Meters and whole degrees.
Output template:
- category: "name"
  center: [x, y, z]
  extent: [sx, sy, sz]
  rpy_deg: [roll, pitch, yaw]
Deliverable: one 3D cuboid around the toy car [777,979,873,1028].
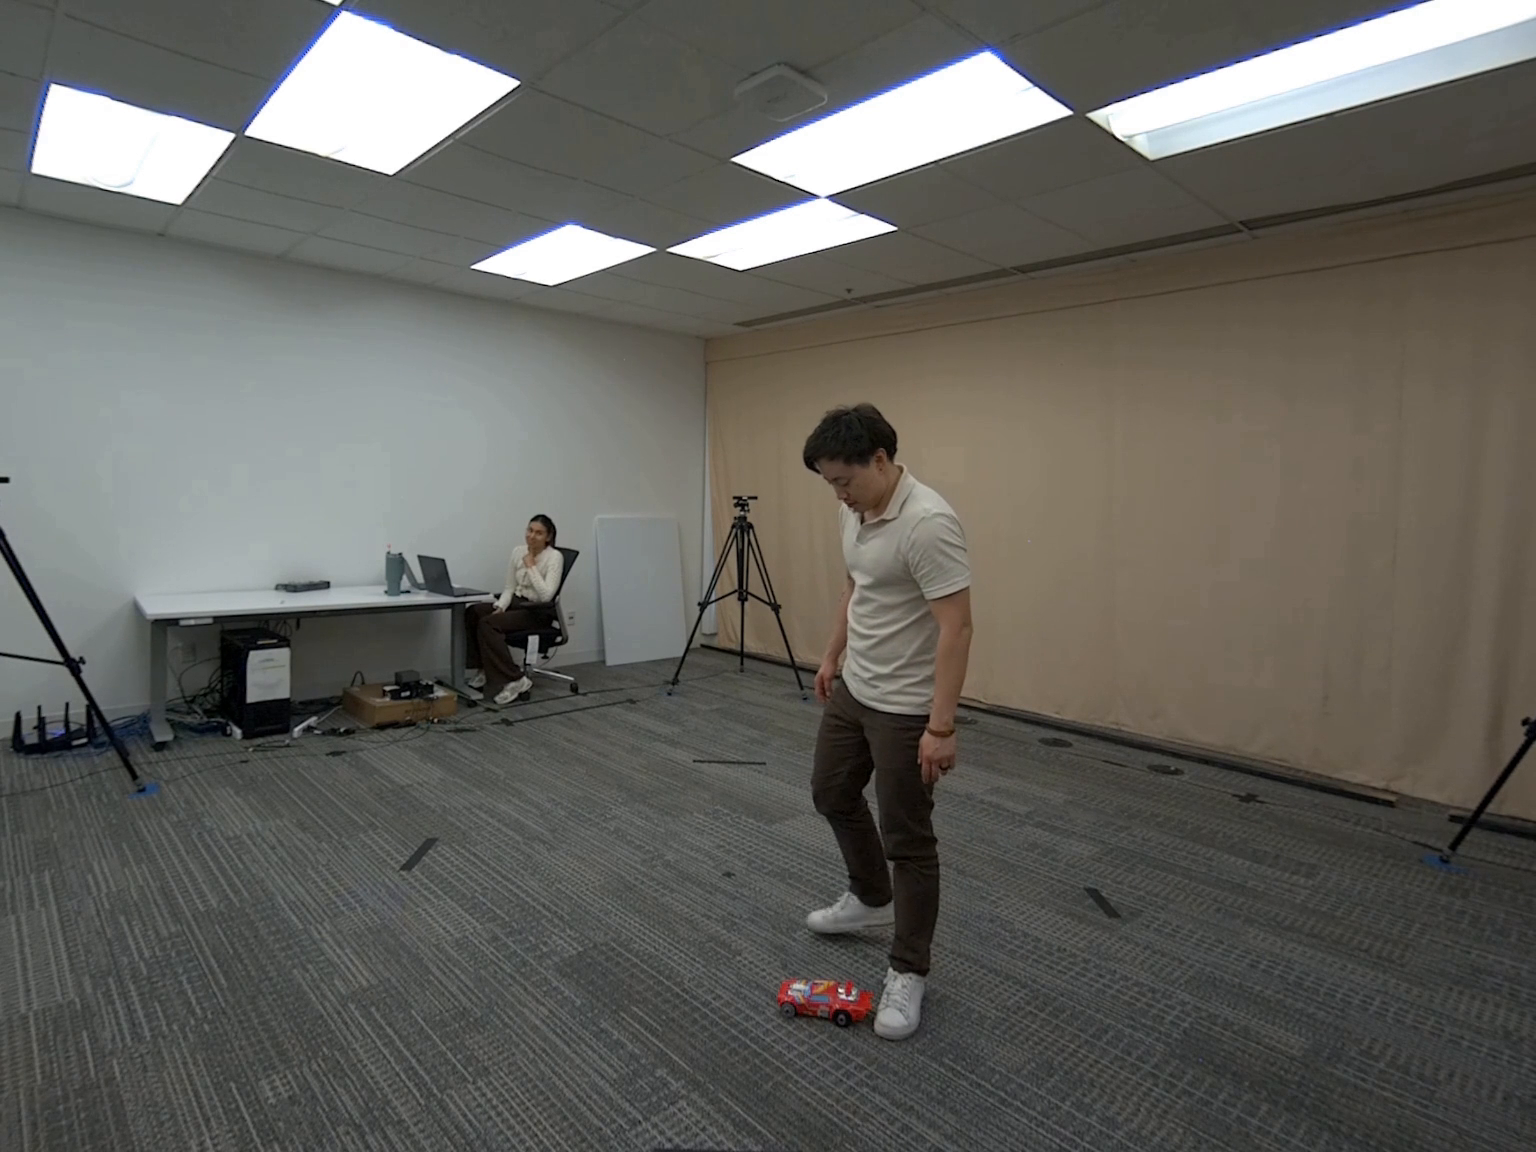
- category: "toy car"
  center: [0.153, 1.153, 2.283]
  extent: [0.257, 0.083, 0.129]
  rpy_deg: [-8, 1, 15]
